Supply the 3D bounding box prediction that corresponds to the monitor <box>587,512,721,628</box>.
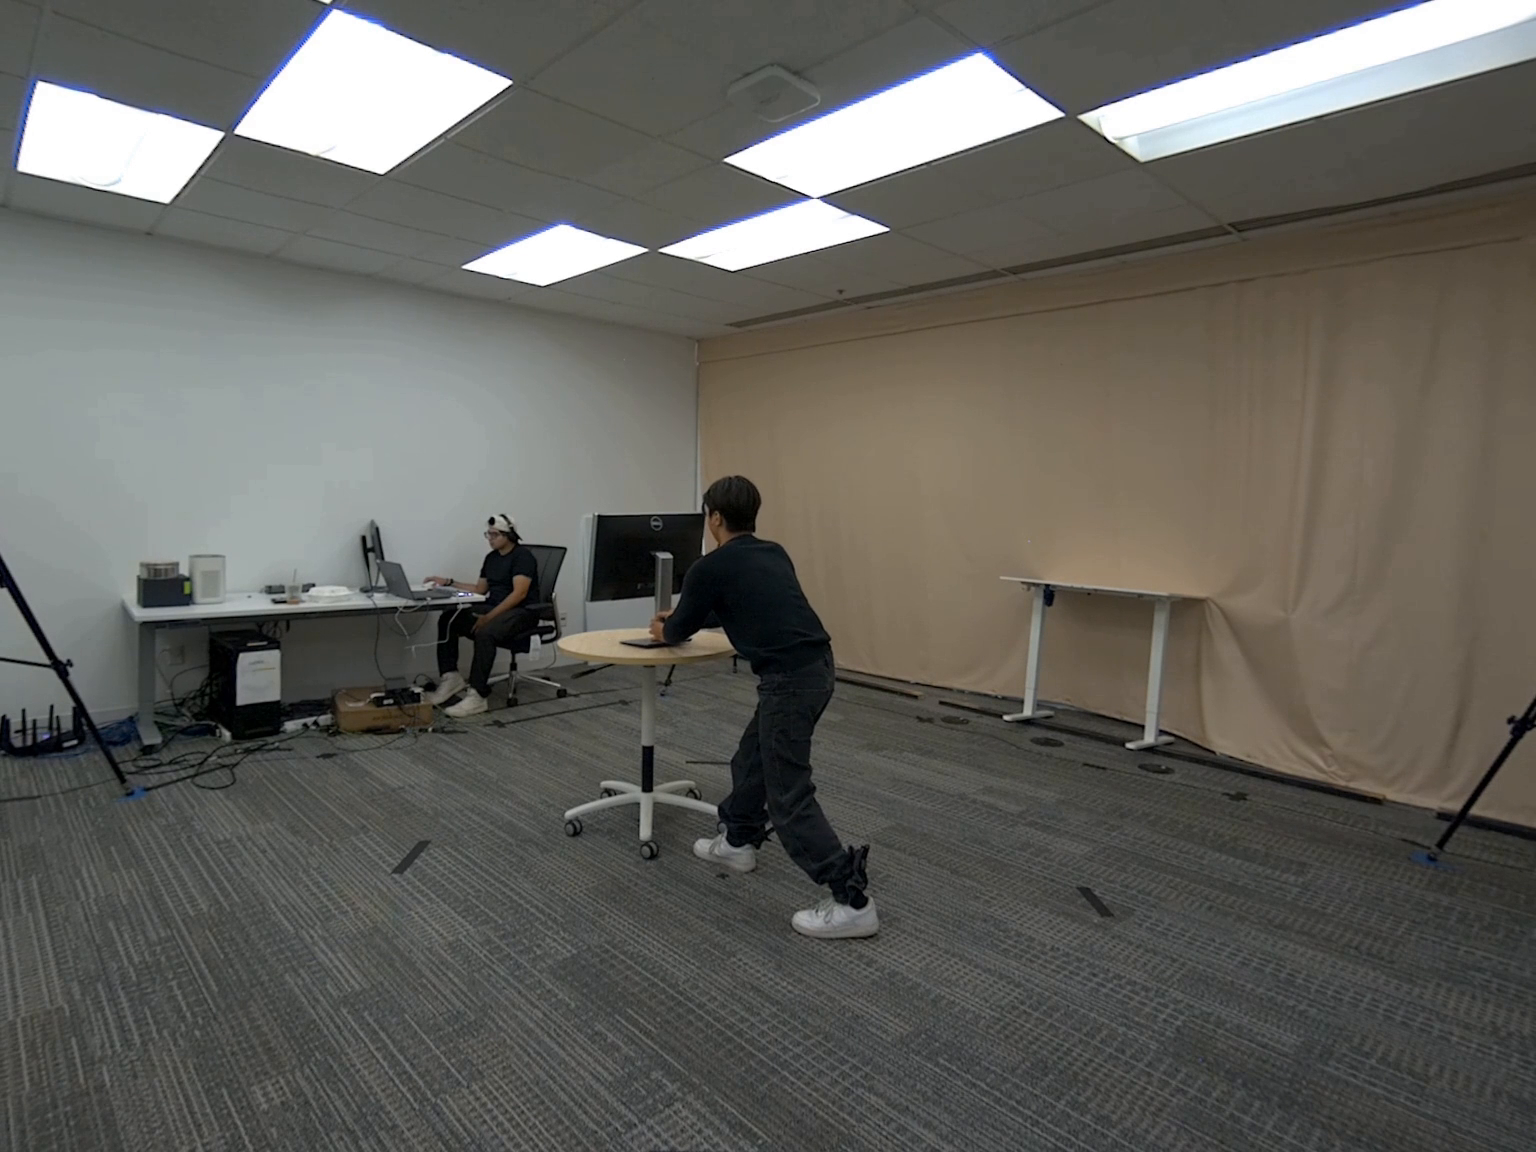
[{"bbox_3d":[-0.482,0.009,3.502,0.527,0.522,0.191,-4,3,-44],"label":"monitor"}]
